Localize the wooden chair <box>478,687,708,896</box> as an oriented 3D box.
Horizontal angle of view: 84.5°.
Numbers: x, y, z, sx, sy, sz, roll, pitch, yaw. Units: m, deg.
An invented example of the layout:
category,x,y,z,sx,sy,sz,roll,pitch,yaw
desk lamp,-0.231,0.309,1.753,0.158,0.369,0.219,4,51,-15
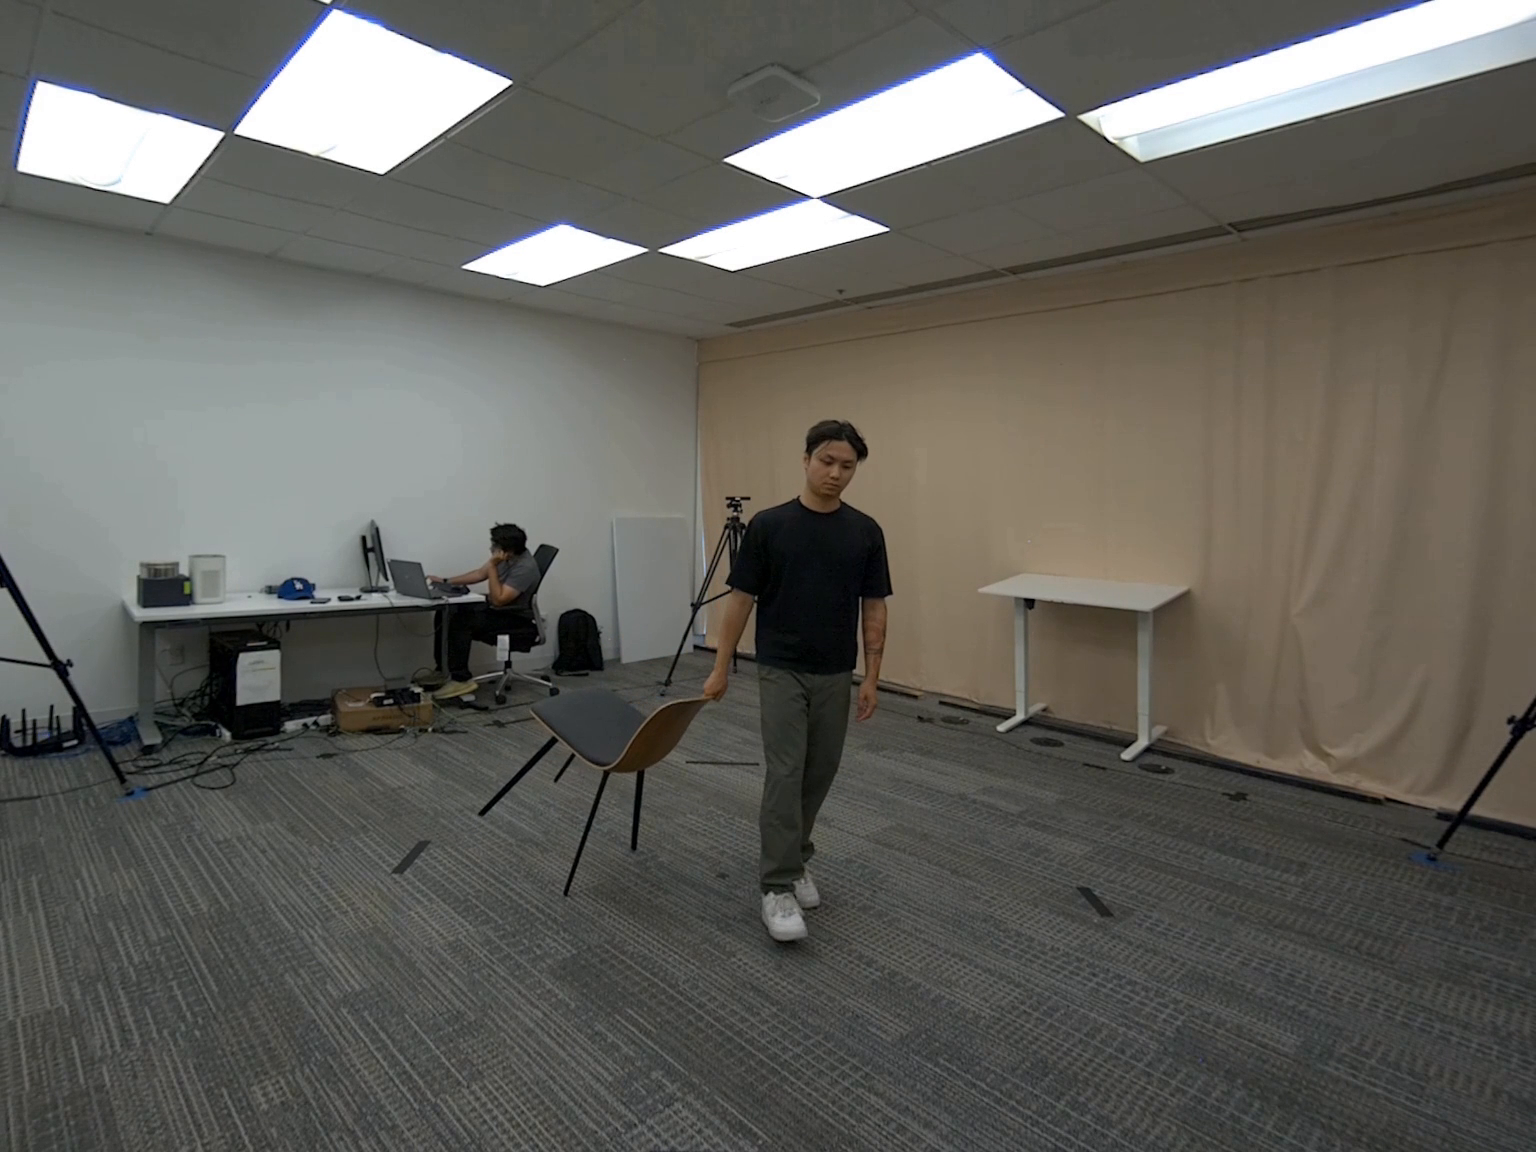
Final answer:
category,x,y,z,sx,sy,sz,roll,pitch,yaw
wooden chair,-0.606,0.610,3.082,0.534,0.874,0.470,38,17,20
